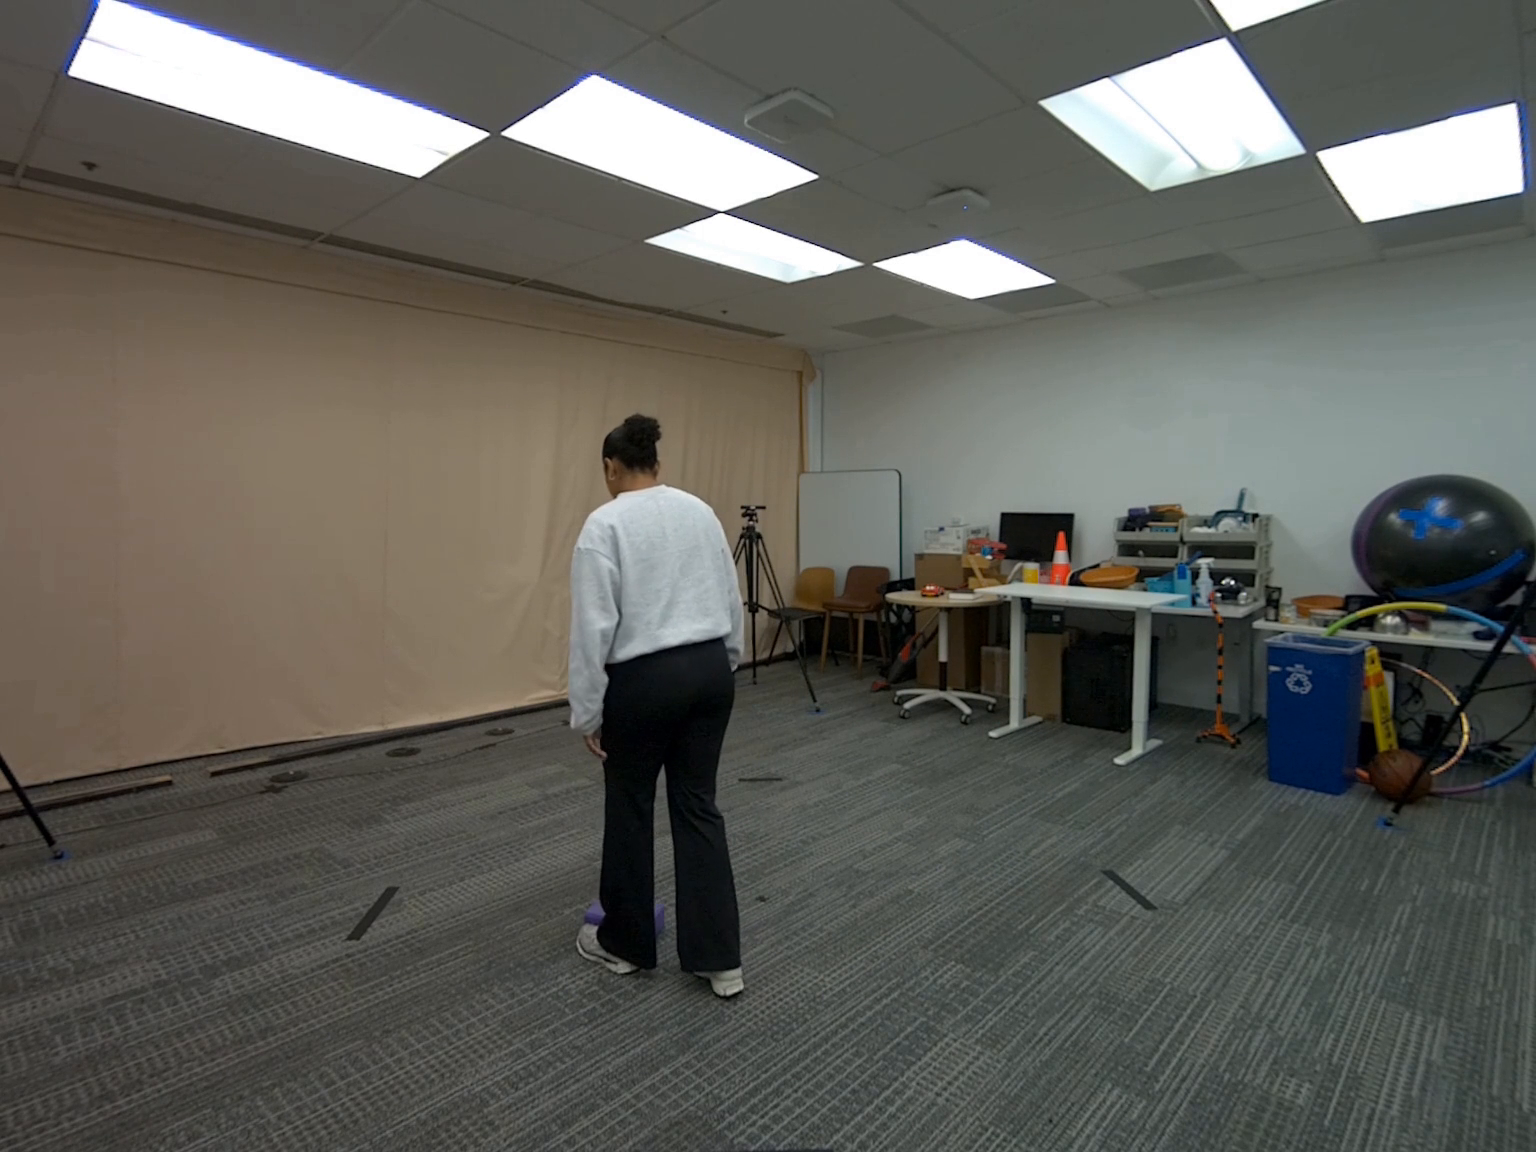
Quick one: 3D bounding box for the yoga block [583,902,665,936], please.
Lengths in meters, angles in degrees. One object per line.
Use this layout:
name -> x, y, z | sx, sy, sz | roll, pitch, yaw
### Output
yoga block -> -0.471, 1.127, 2.752 | 0.234, 0.076, 0.146 | 1, 4, 19
